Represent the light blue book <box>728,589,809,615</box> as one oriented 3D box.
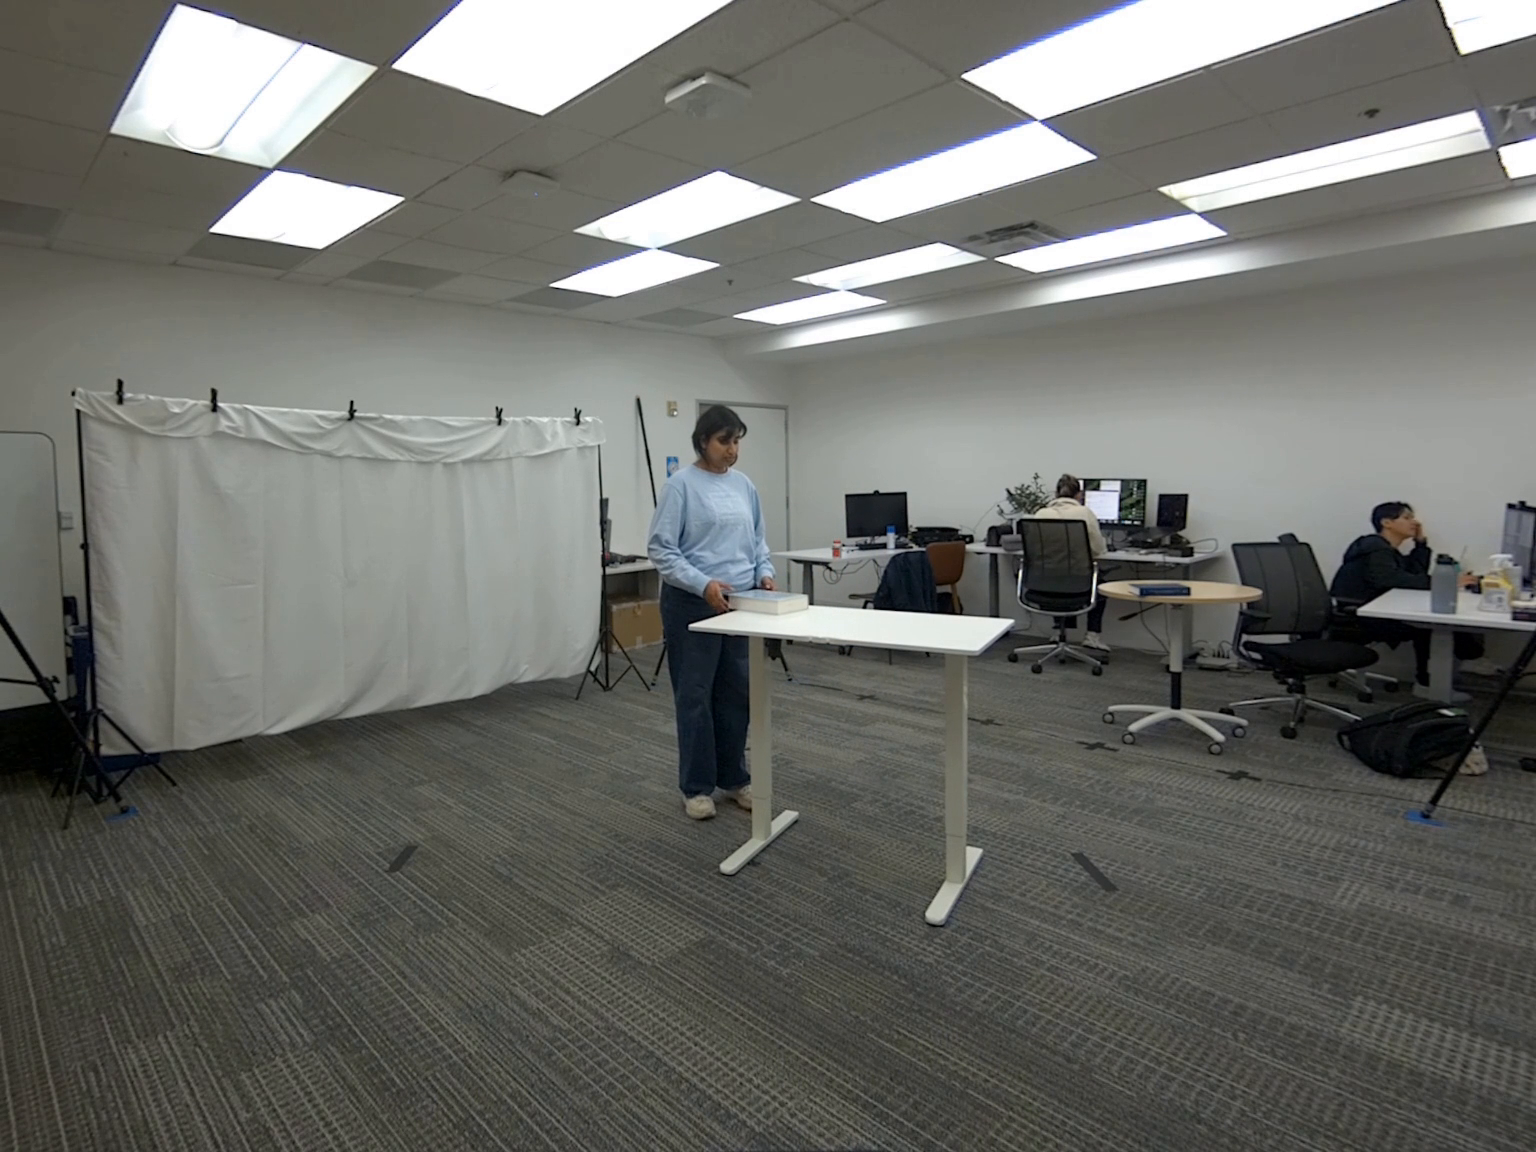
[{"bbox_3d":[-0.003,0.105,3.347,0.269,0.059,0.186,4,8,41],"label":"light blue book"}]
